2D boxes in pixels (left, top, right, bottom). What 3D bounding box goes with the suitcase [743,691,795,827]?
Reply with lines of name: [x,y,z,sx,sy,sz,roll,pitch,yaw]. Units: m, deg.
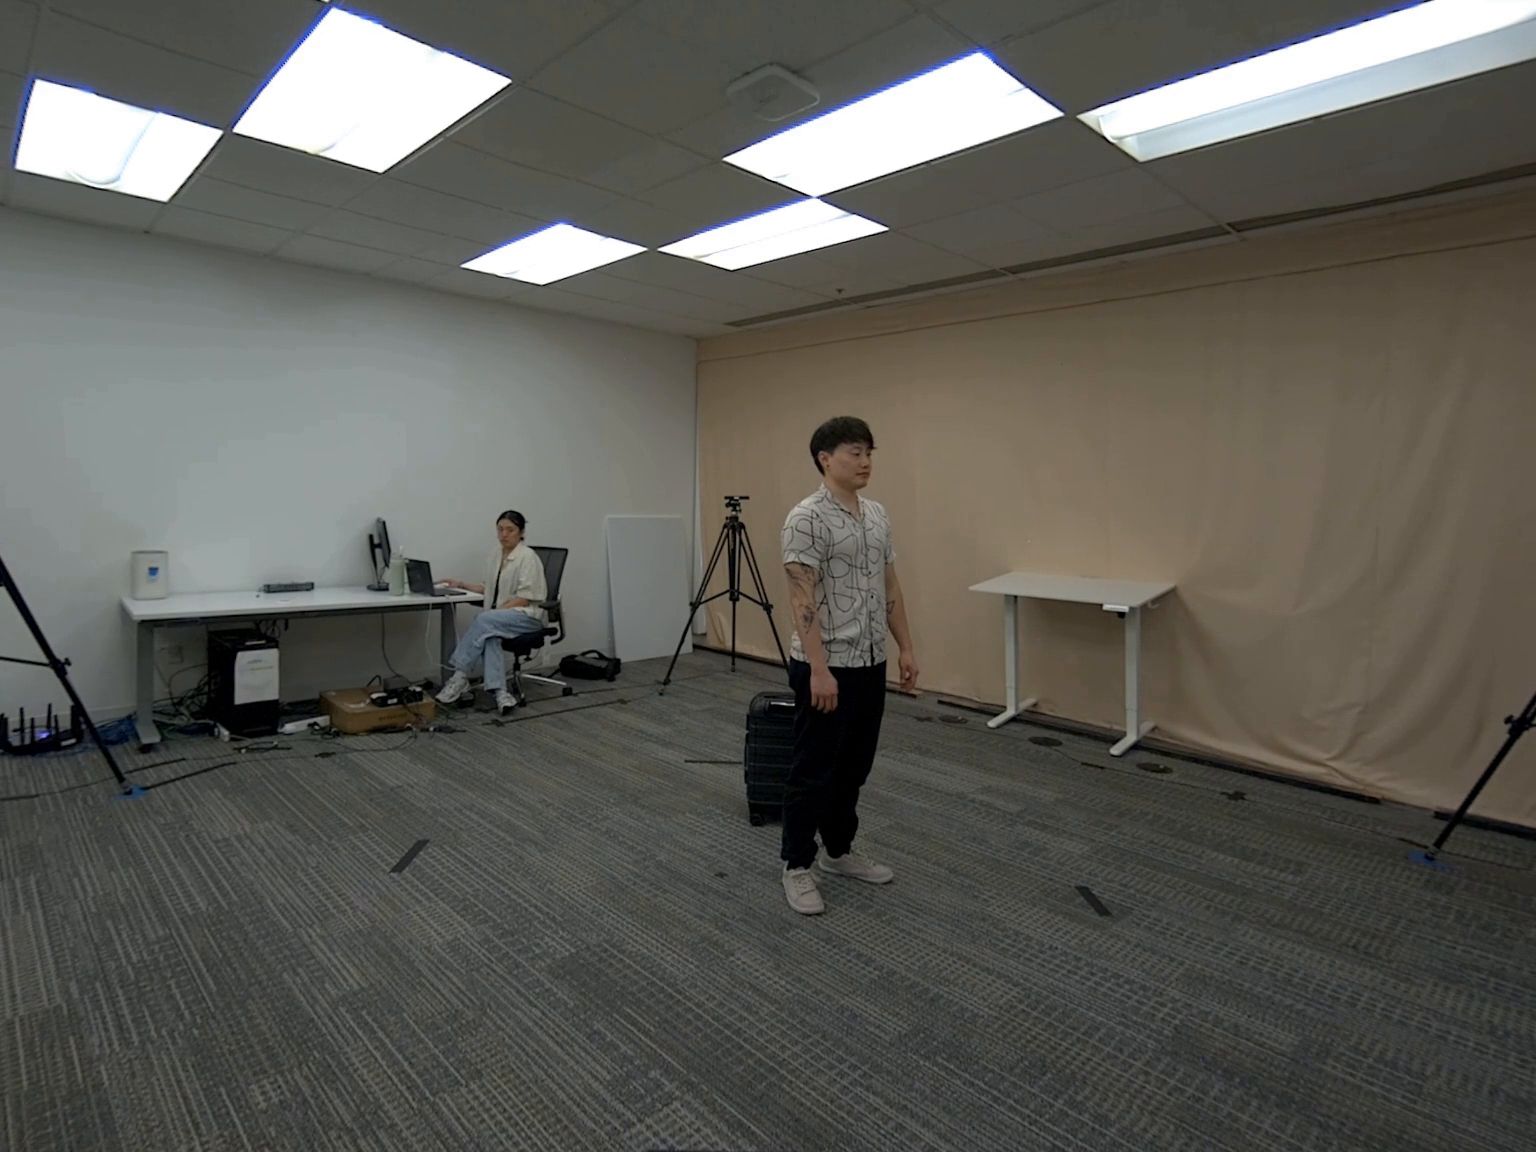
suitcase: [0.080,0.785,3.676,0.378,0.548,0.247,1,3,8]
